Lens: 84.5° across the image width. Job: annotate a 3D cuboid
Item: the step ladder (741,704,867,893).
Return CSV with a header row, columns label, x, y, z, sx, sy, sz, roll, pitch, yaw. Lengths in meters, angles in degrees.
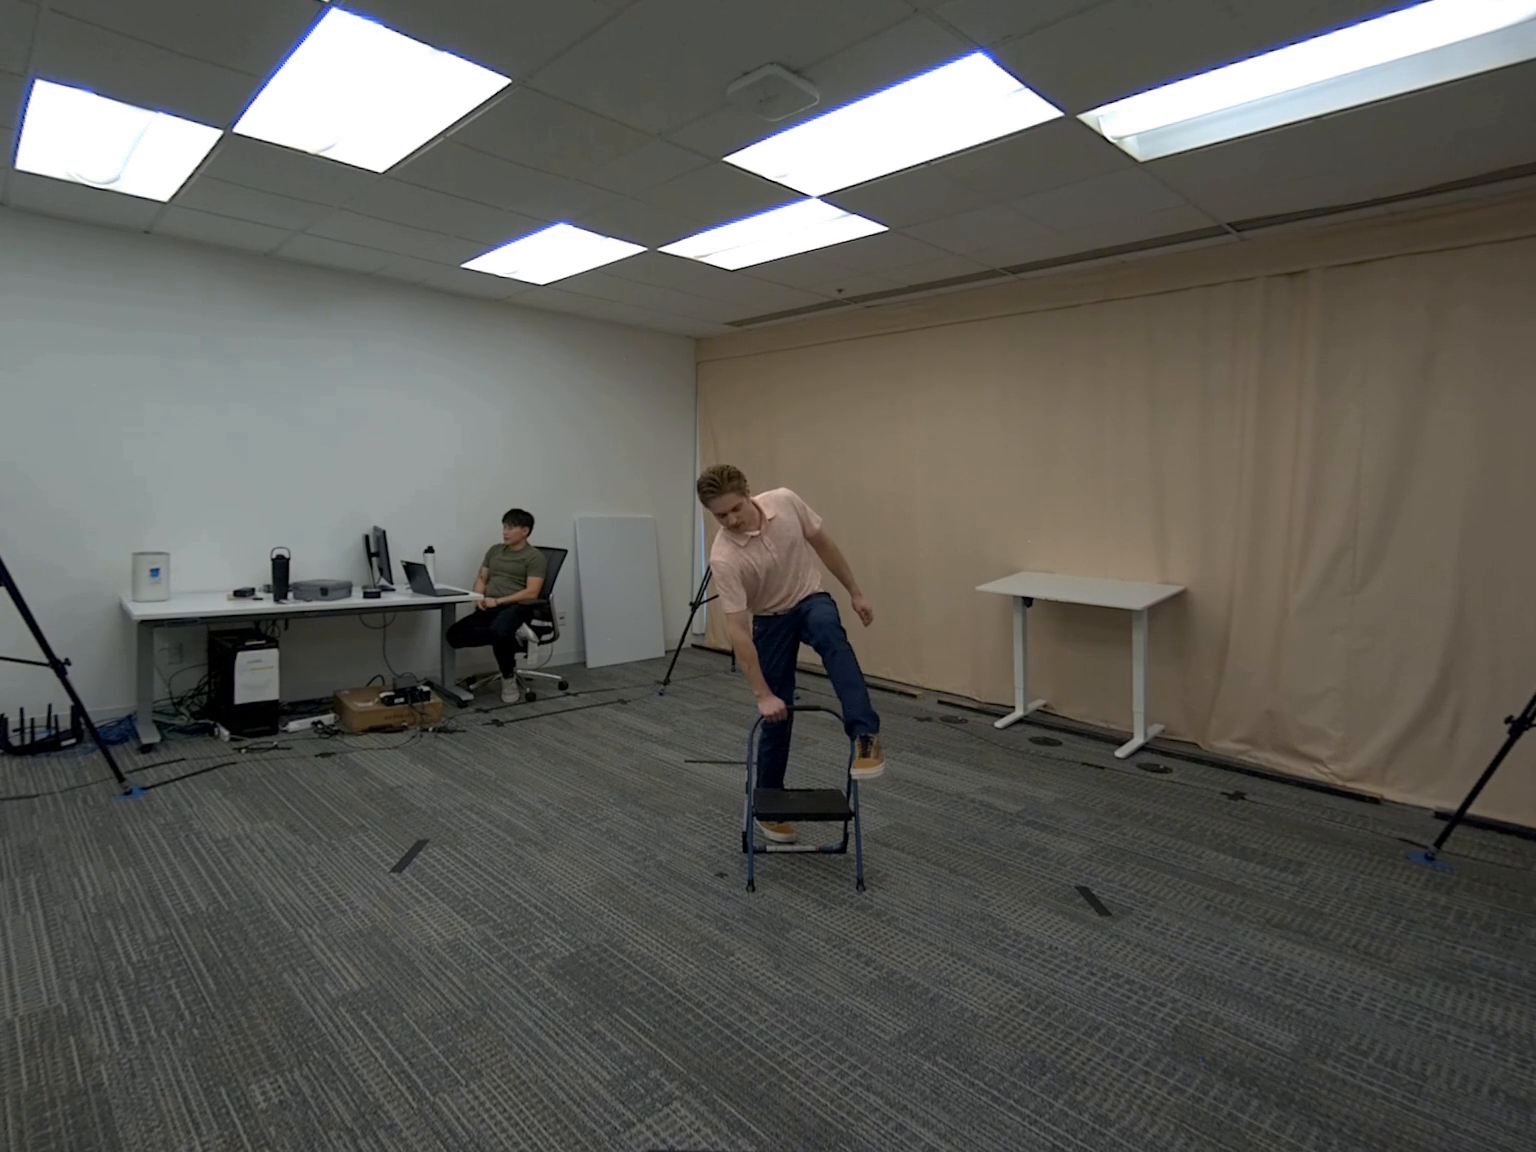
label,x,y,z,sx,sy,sz,roll,pitch,yaw
step ladder,0.123,0.805,3.152,0.429,0.605,0.351,2,3,-5
